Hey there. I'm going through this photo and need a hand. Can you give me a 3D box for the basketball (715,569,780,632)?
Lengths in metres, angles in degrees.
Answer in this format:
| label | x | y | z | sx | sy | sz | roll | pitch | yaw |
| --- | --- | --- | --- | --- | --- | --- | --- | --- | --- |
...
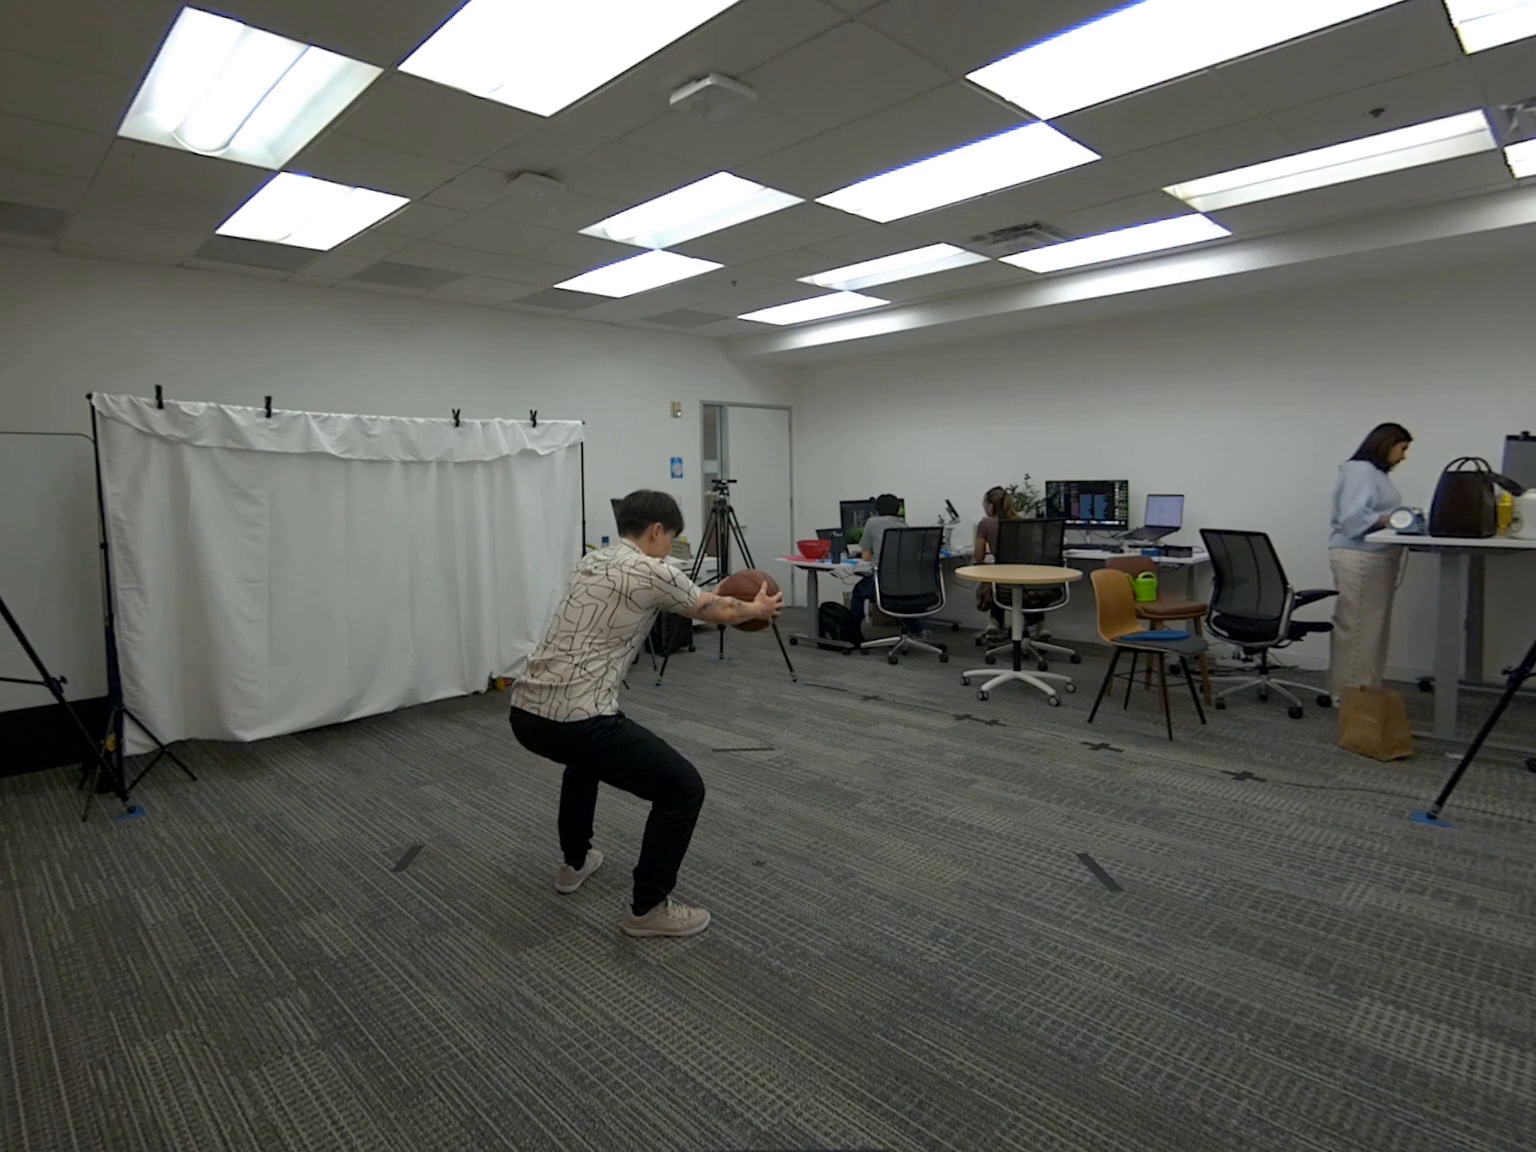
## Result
| label | x | y | z | sx | sy | sz | roll | pitch | yaw |
| --- | --- | --- | --- | --- | --- | --- | --- | --- | --- |
| basketball | -0.059 | 0.086 | 3.238 | 0.236 | 0.235 | 0.237 | -1 | 5 | -2 |
